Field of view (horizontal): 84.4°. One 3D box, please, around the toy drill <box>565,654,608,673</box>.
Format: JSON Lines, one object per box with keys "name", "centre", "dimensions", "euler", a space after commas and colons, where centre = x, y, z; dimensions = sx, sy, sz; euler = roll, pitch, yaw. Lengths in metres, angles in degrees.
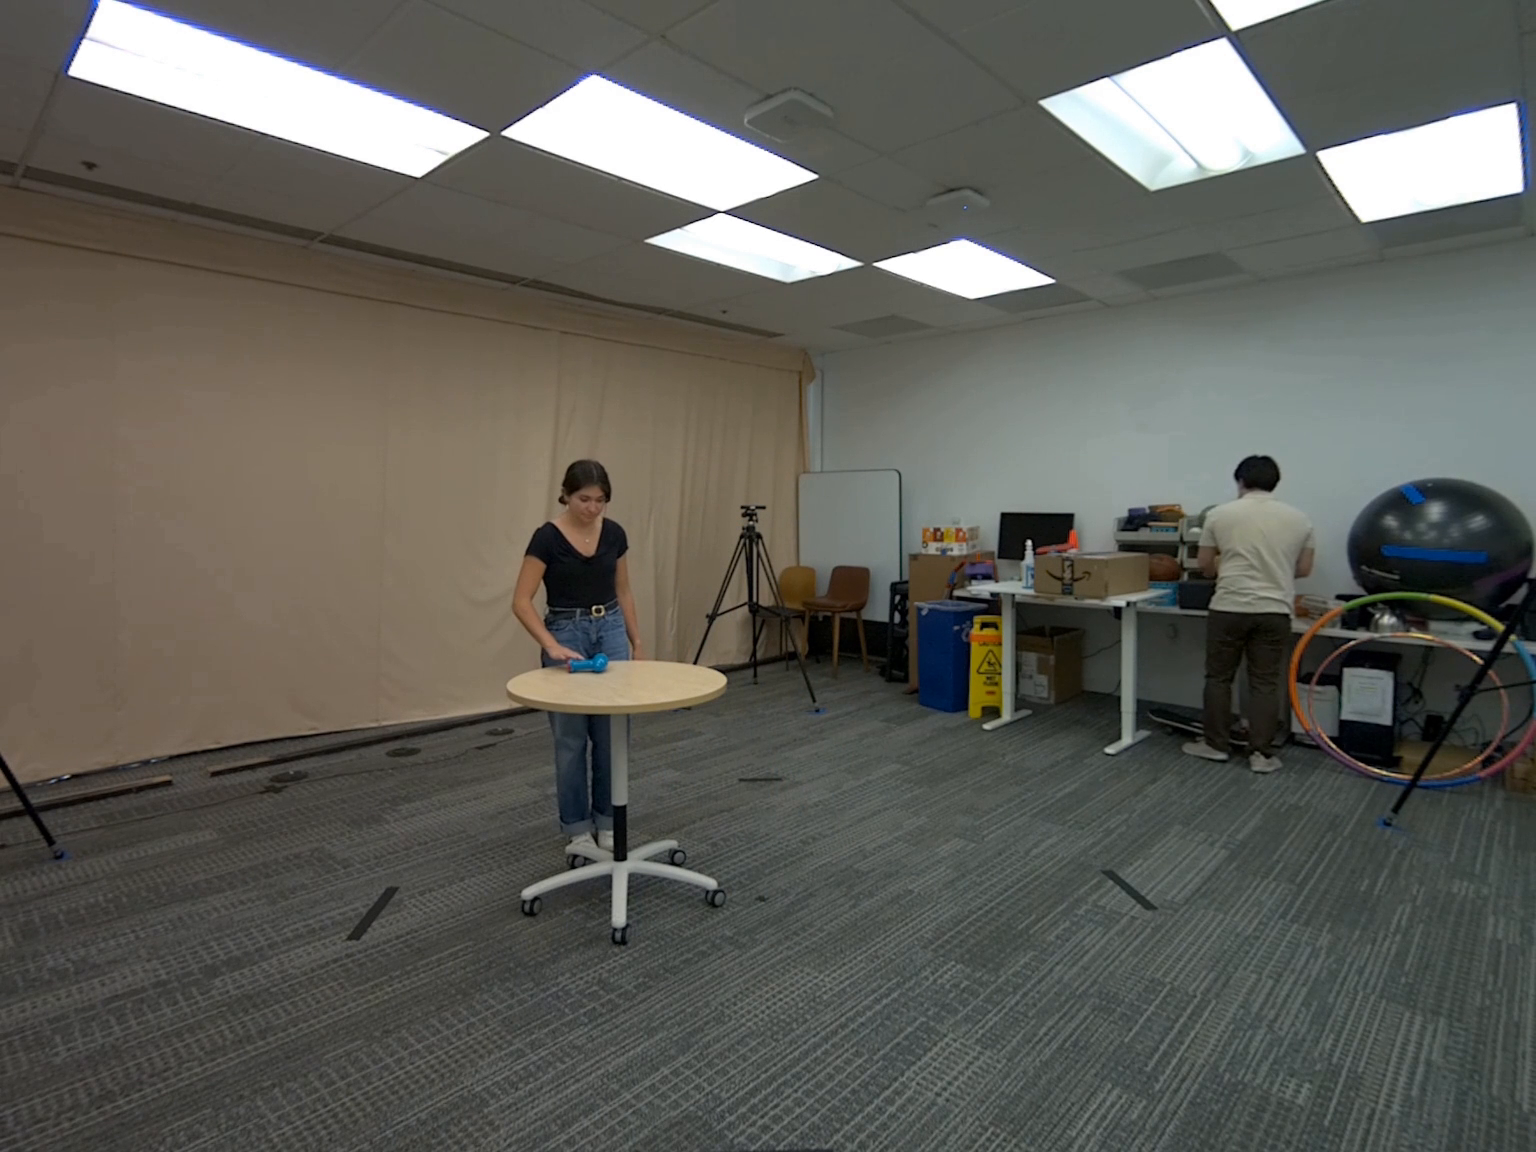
{"name": "toy drill", "centre": [-0.668, 0.320, 3.145], "dimensions": [0.146, 0.061, 0.171], "euler": [-2, 10, -3]}
